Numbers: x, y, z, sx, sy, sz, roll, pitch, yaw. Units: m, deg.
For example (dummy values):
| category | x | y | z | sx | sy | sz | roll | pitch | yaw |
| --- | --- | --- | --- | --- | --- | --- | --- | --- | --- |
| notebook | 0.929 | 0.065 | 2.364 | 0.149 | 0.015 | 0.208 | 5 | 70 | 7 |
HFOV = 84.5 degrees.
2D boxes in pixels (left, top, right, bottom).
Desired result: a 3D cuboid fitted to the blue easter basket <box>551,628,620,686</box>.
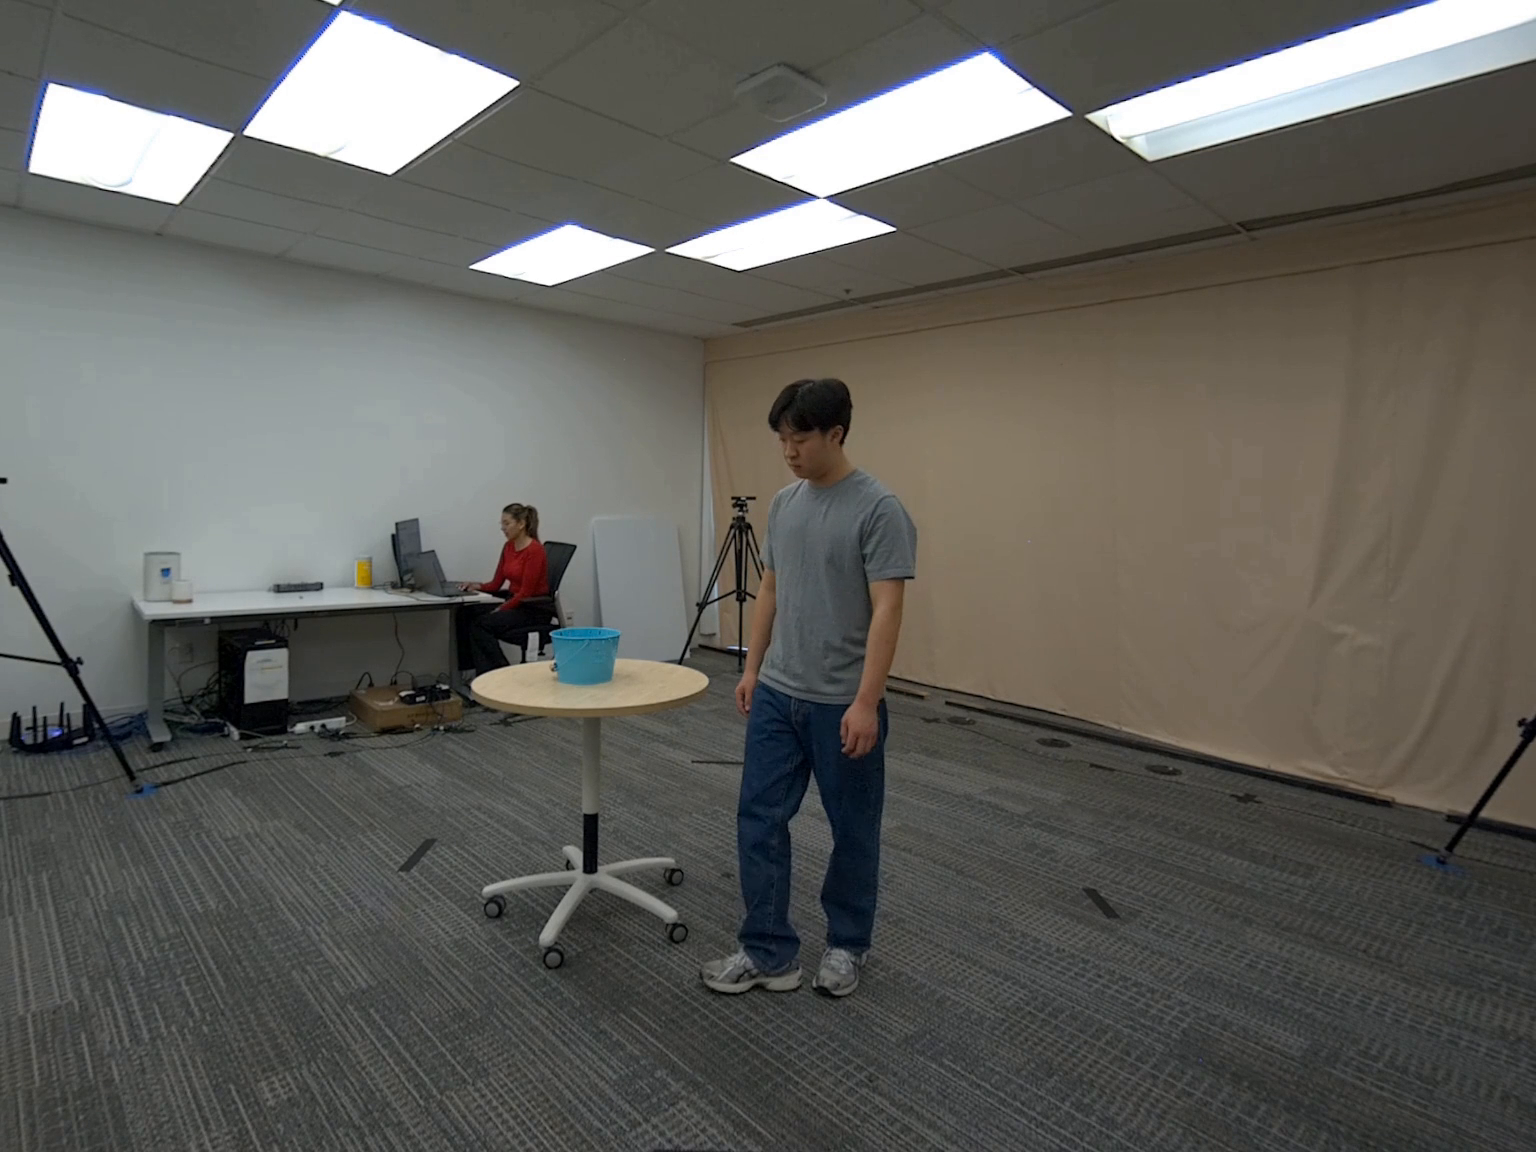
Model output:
| category | x | y | z | sx | sy | sz | roll | pitch | yaw |
| --- | --- | --- | --- | --- | --- | --- | --- | --- | --- |
| blue easter basket | -0.622 | 0.269 | 2.782 | 0.243 | 0.155 | 0.244 | 1 | 5 | -1 |
